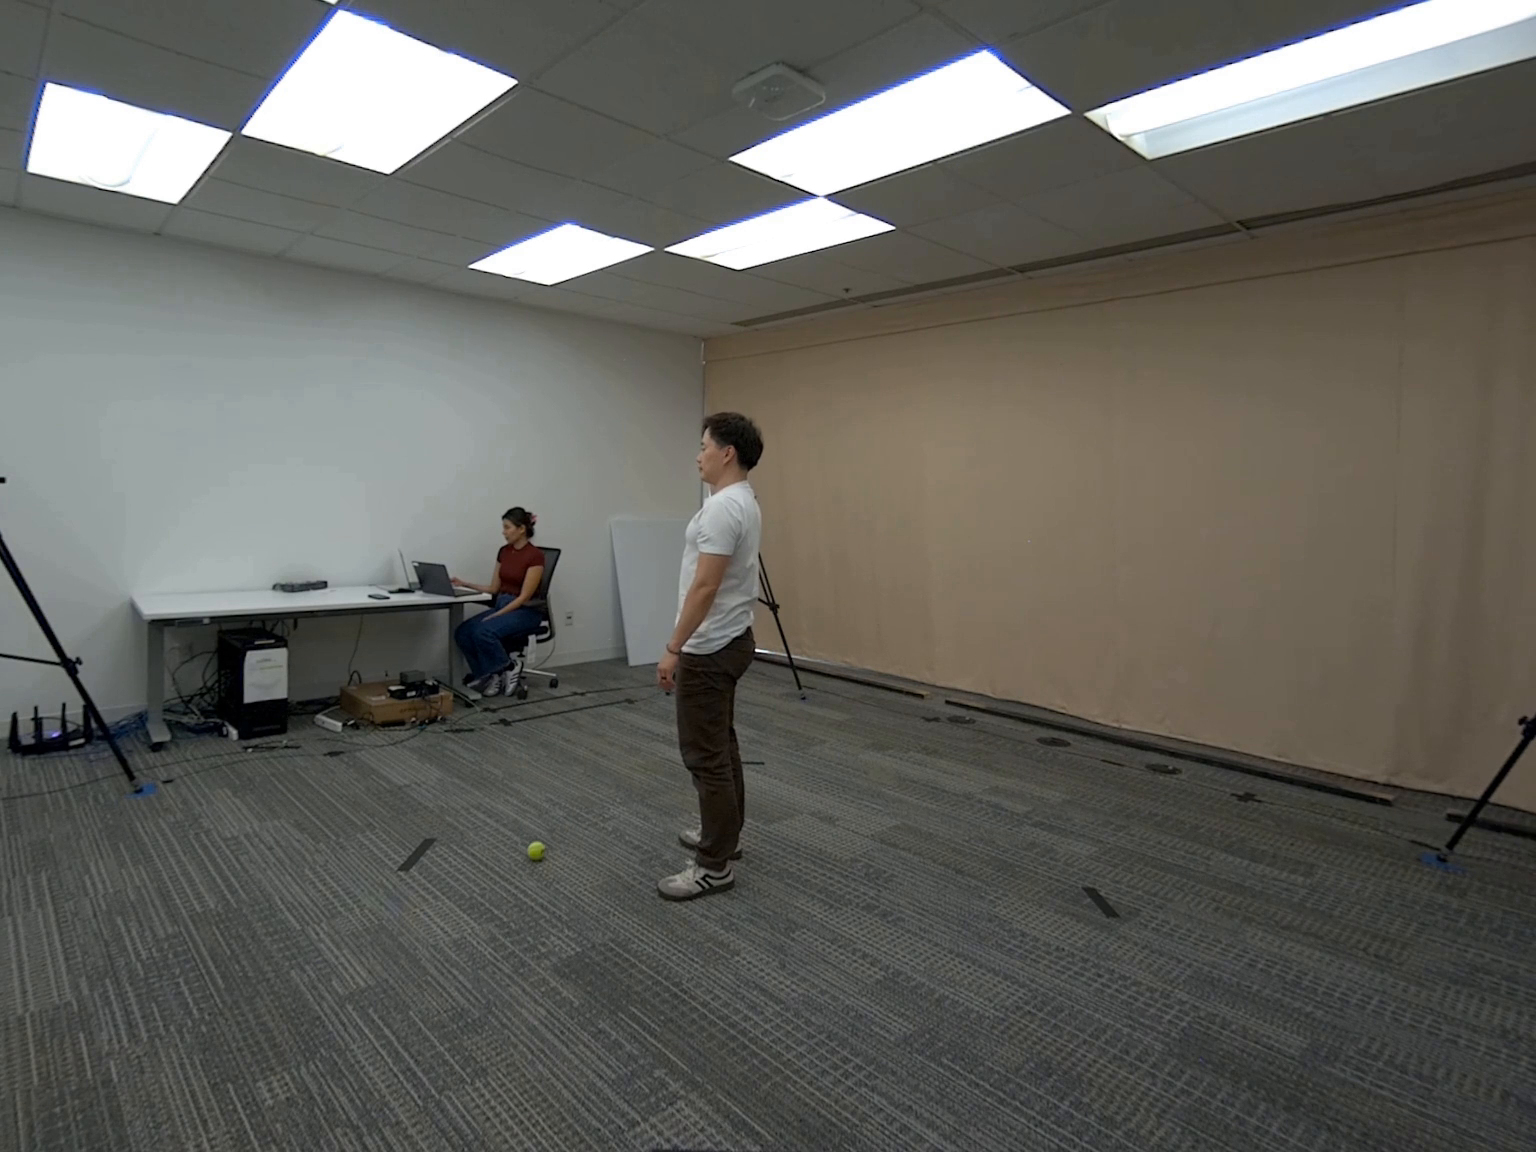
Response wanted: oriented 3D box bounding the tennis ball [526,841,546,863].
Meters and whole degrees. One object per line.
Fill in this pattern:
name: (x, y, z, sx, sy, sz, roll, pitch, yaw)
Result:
tennis ball: (-0.886, 1.028, 3.192, 0.066, 0.066, 0.067, 1, 4, -1)
